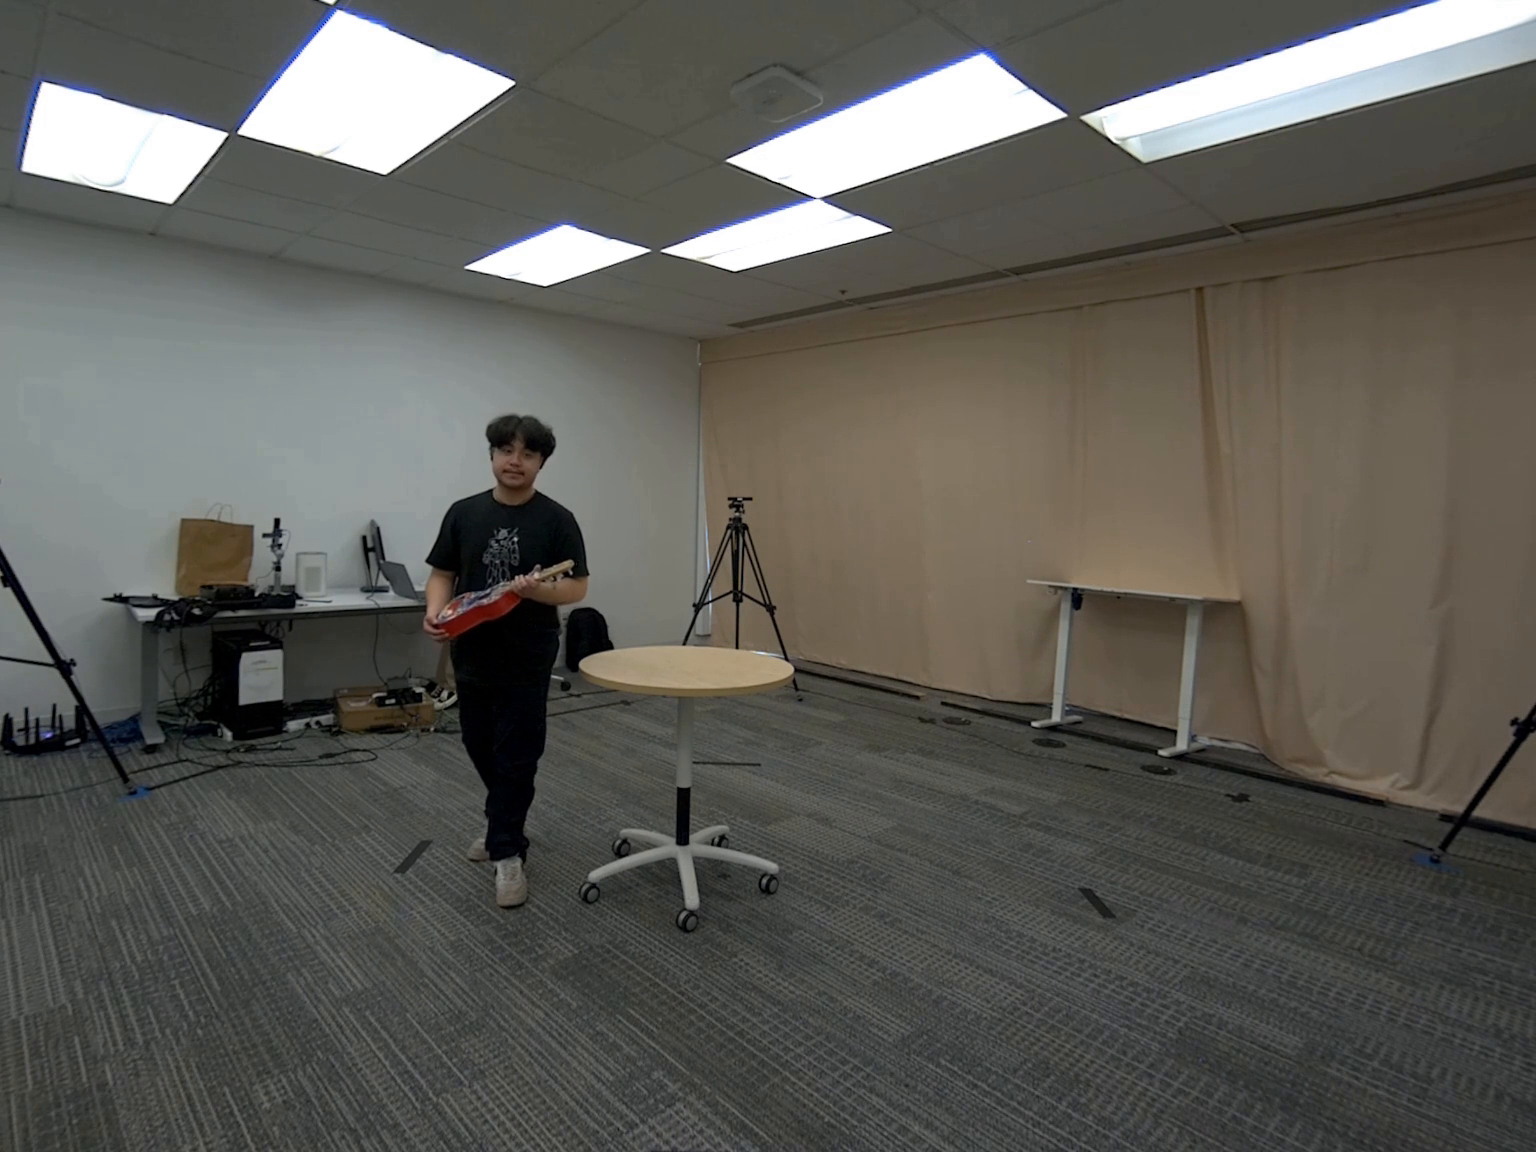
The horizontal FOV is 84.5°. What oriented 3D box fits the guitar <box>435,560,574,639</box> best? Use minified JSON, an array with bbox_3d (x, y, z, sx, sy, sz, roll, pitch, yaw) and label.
[{"bbox_3d":[-0.864,0.081,2.719,0.502,0.069,0.195,-18,23,19],"label":"guitar"}]
